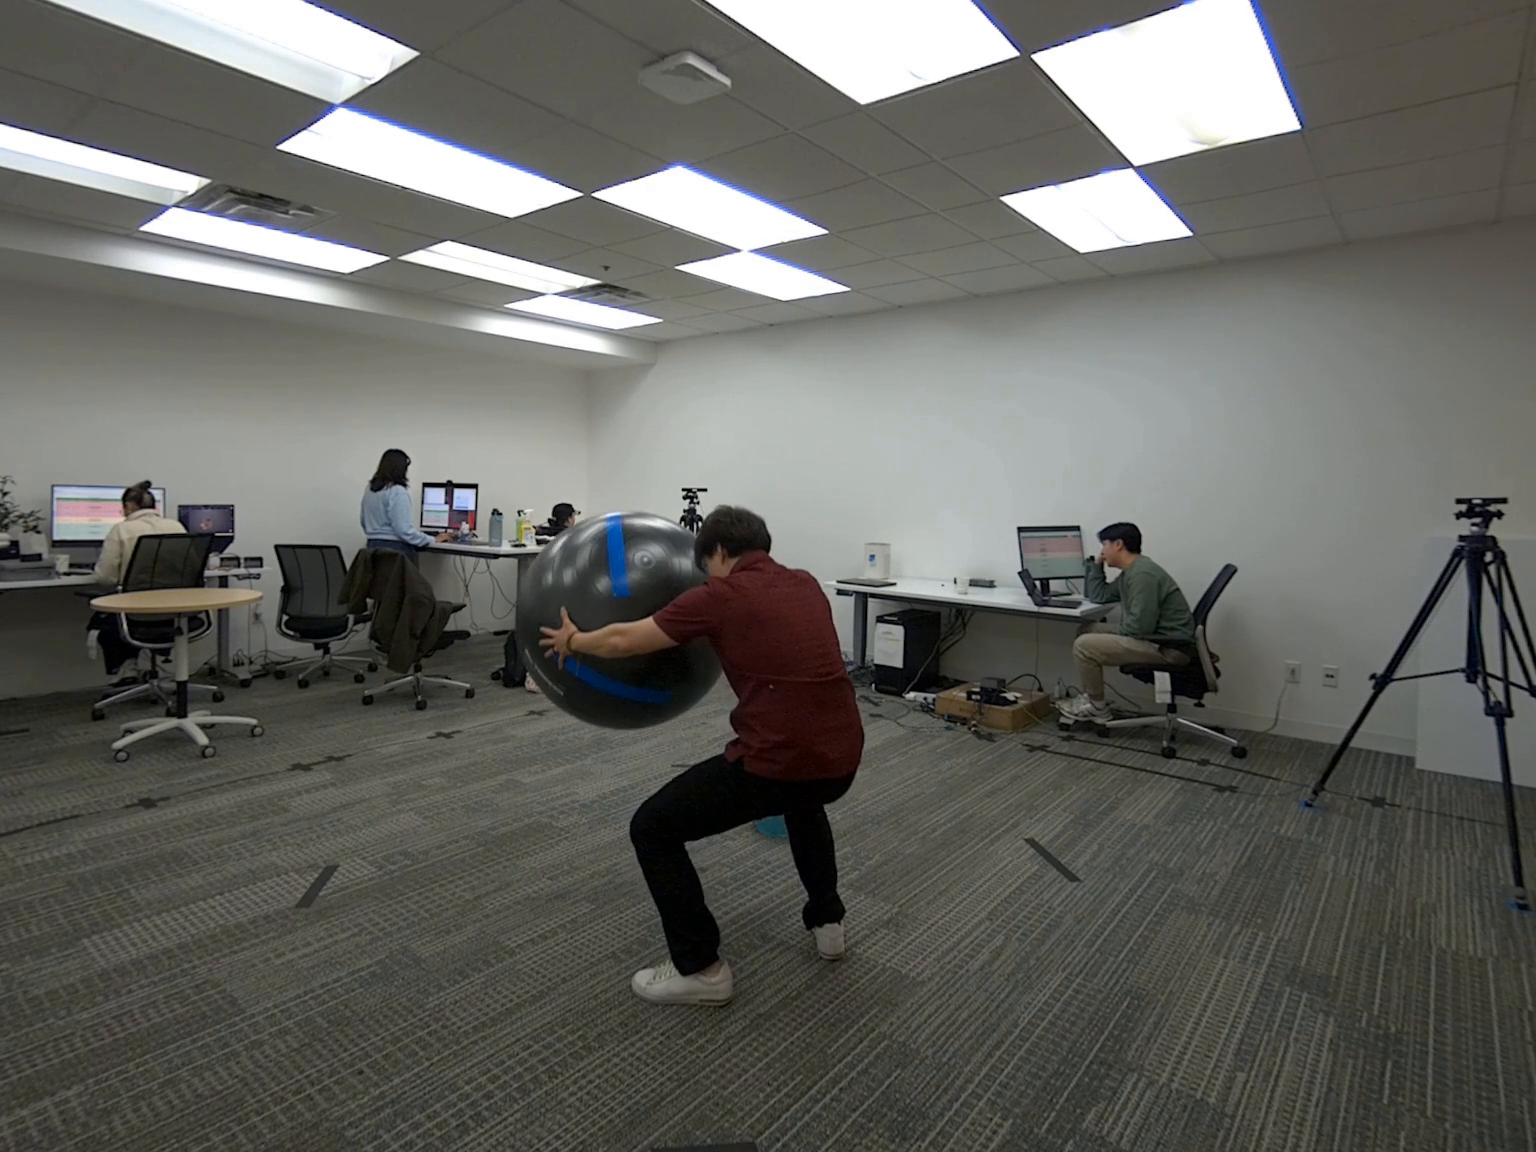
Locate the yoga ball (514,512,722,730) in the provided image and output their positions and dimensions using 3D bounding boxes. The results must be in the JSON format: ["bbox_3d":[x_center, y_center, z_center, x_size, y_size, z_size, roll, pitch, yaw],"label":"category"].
[{"bbox_3d":[-0.504,0.153,2.977,0.757,0.756,0.762,1,4,-2],"label":"yoga ball"}]
